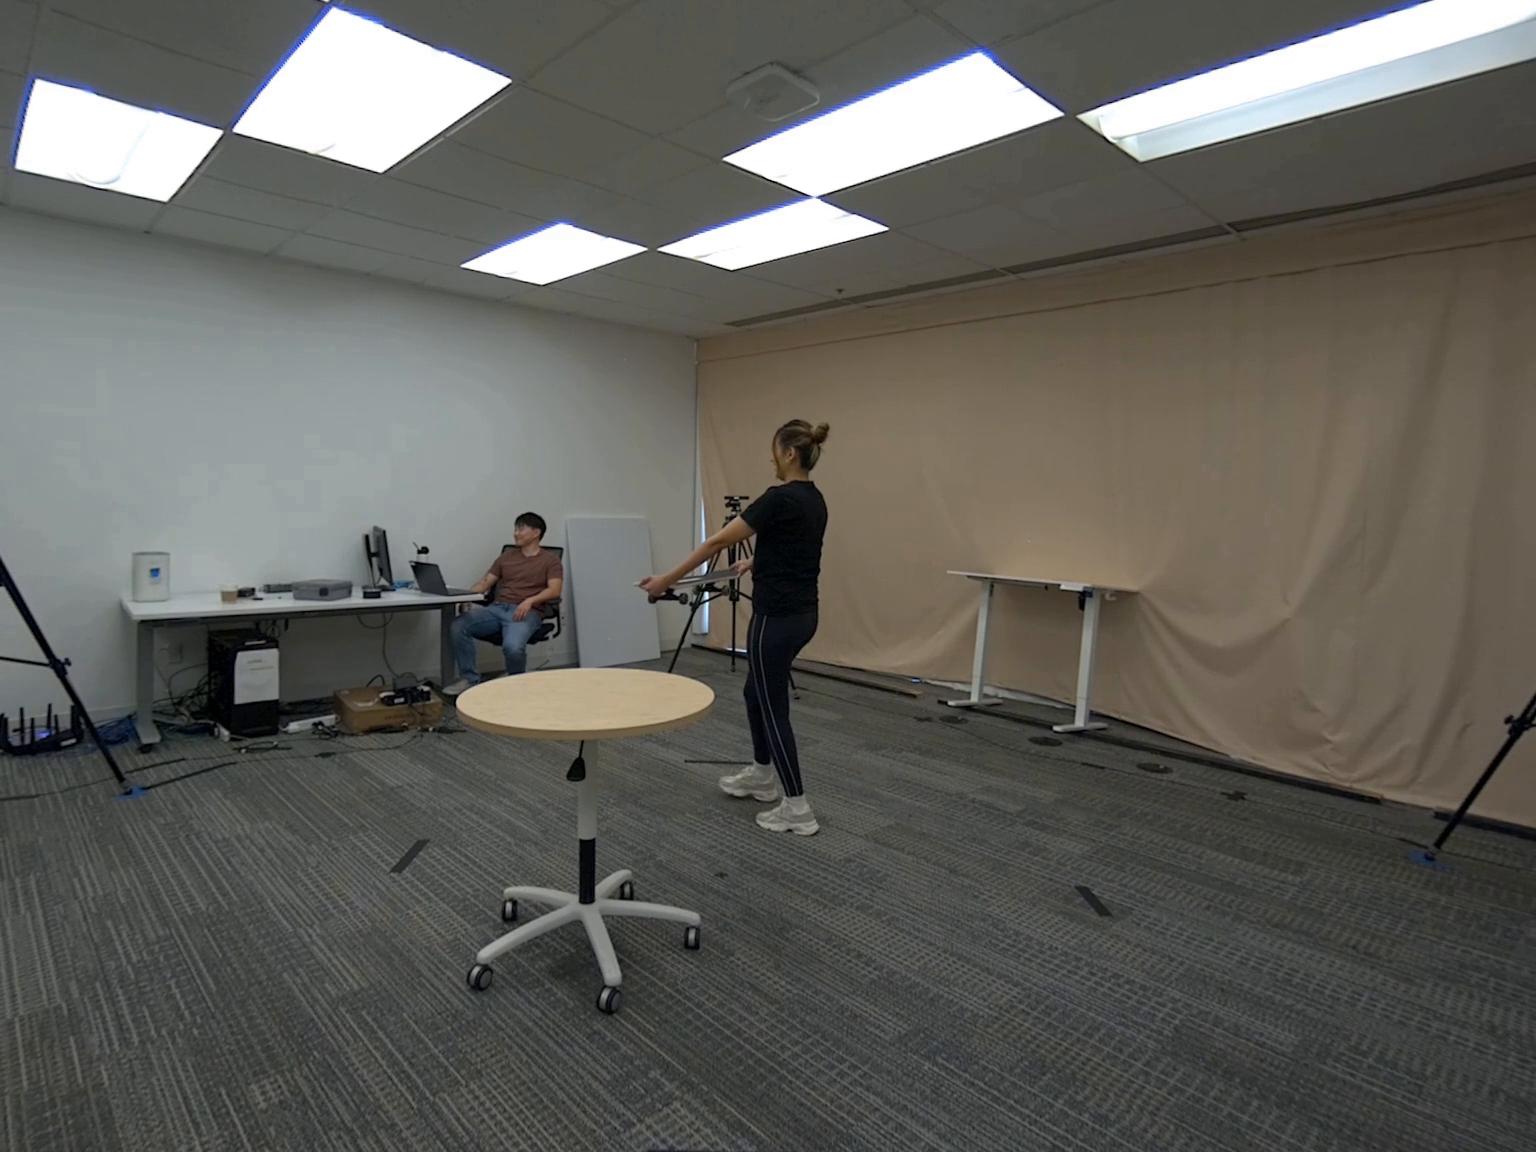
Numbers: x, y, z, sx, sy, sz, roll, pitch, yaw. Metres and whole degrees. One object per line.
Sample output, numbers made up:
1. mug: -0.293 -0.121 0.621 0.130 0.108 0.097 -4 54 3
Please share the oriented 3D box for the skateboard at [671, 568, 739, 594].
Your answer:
1. skateboard: -0.349 0.054 3.780 0.197 0.110 0.773 2 6 25
